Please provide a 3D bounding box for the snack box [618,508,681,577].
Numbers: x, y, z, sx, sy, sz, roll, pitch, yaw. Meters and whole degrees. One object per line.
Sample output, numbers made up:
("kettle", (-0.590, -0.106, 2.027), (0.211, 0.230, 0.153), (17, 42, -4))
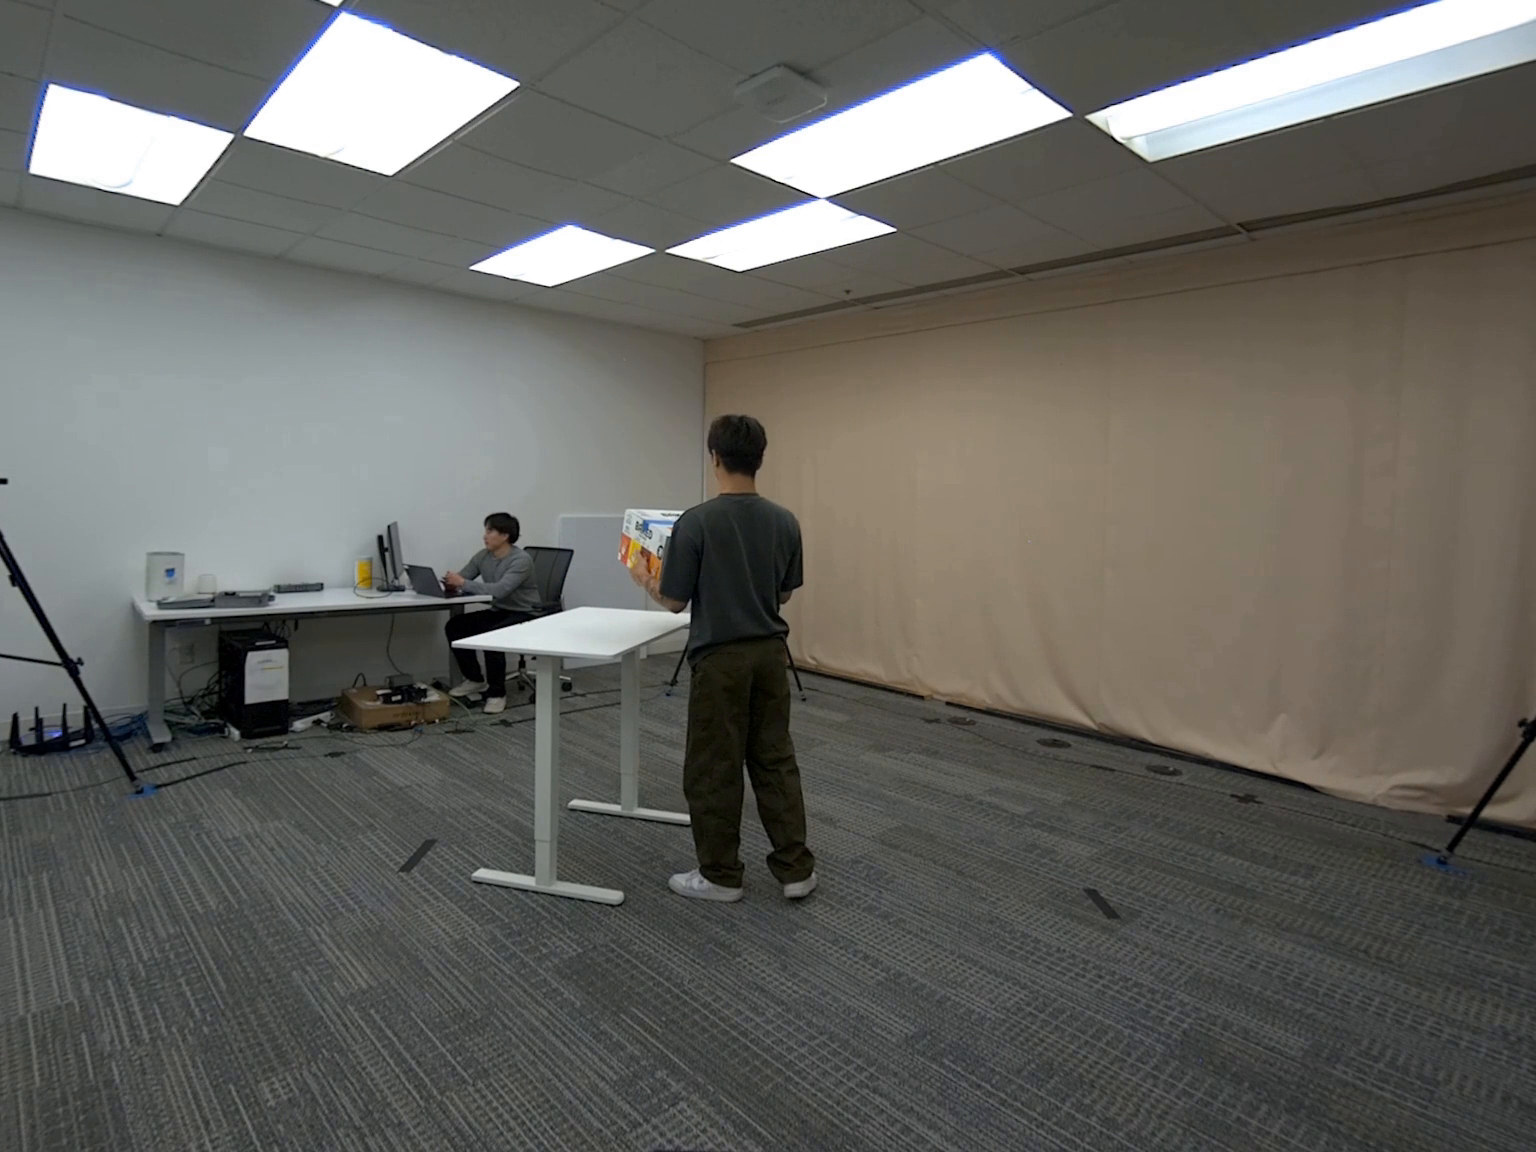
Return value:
("snack box", (-0.304, -0.103, 3.200), (0.396, 0.204, 0.351), (0, 19, -35))
